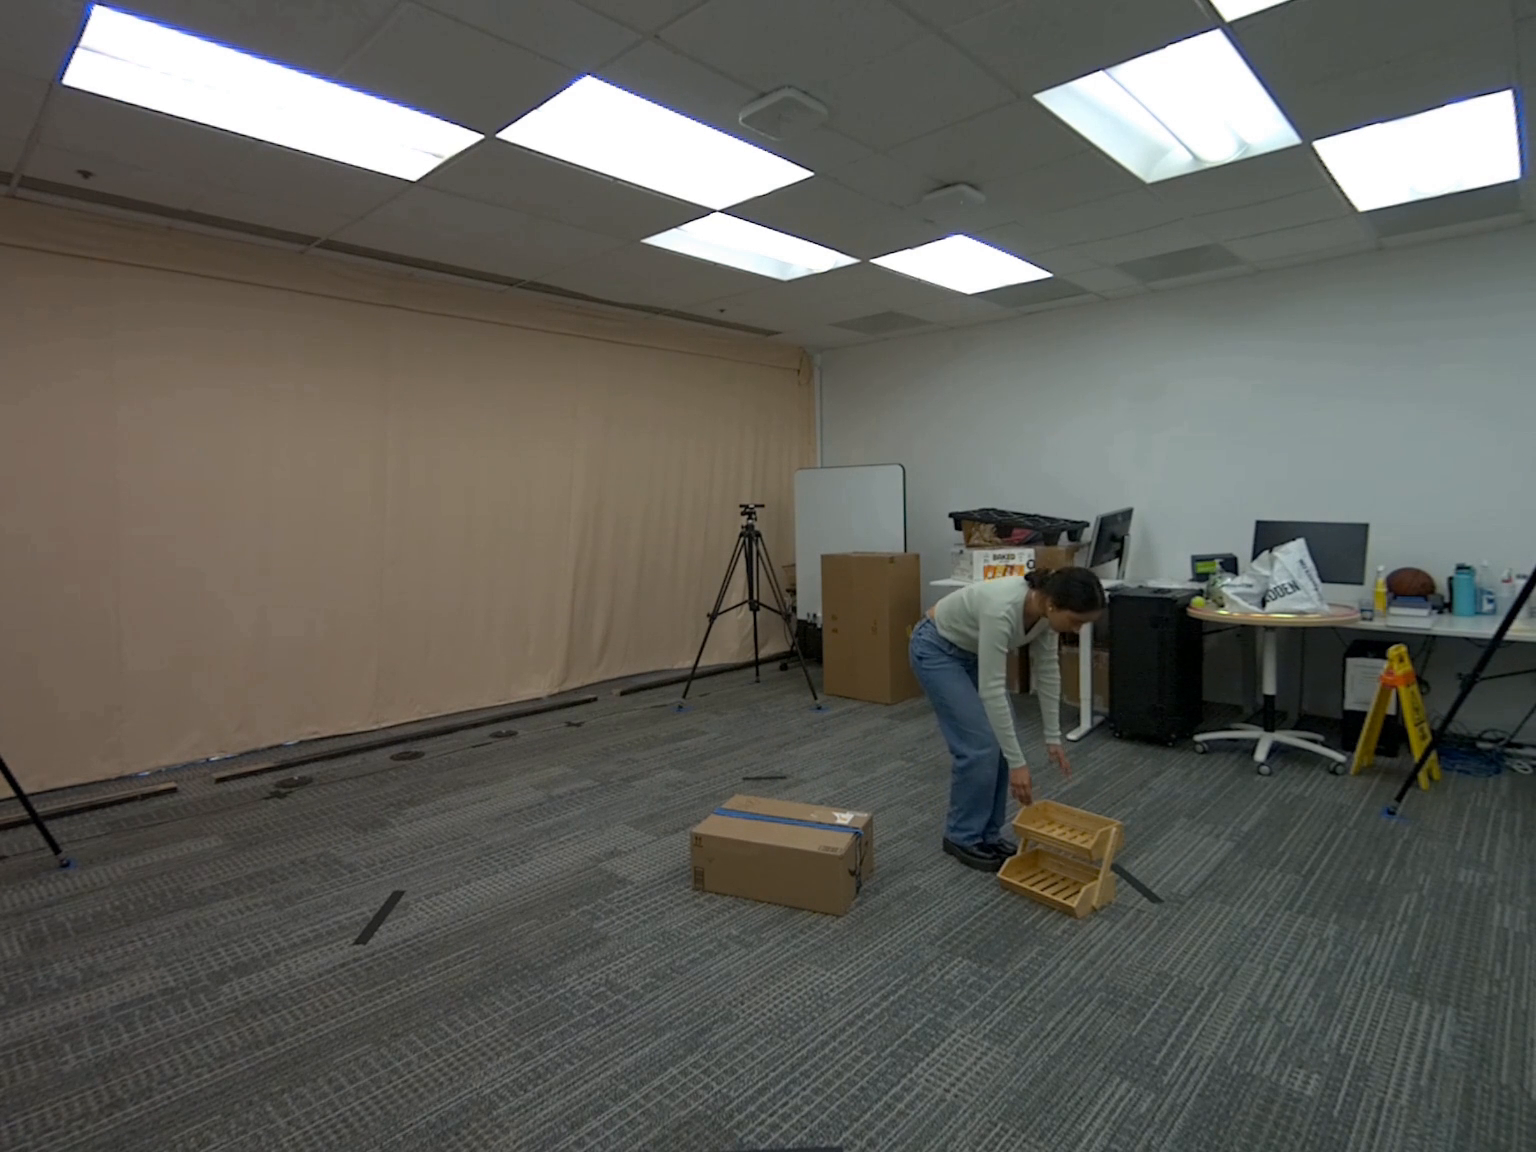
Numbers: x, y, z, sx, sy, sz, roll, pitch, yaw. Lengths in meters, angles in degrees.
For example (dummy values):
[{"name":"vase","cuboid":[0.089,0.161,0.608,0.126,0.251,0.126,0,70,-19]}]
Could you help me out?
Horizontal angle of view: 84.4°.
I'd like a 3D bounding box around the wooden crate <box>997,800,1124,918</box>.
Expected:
[{"name":"wooden crate","cuboid":[1.024,0.977,2.985,0.293,0.273,0.335,-3,4,-39]}]
